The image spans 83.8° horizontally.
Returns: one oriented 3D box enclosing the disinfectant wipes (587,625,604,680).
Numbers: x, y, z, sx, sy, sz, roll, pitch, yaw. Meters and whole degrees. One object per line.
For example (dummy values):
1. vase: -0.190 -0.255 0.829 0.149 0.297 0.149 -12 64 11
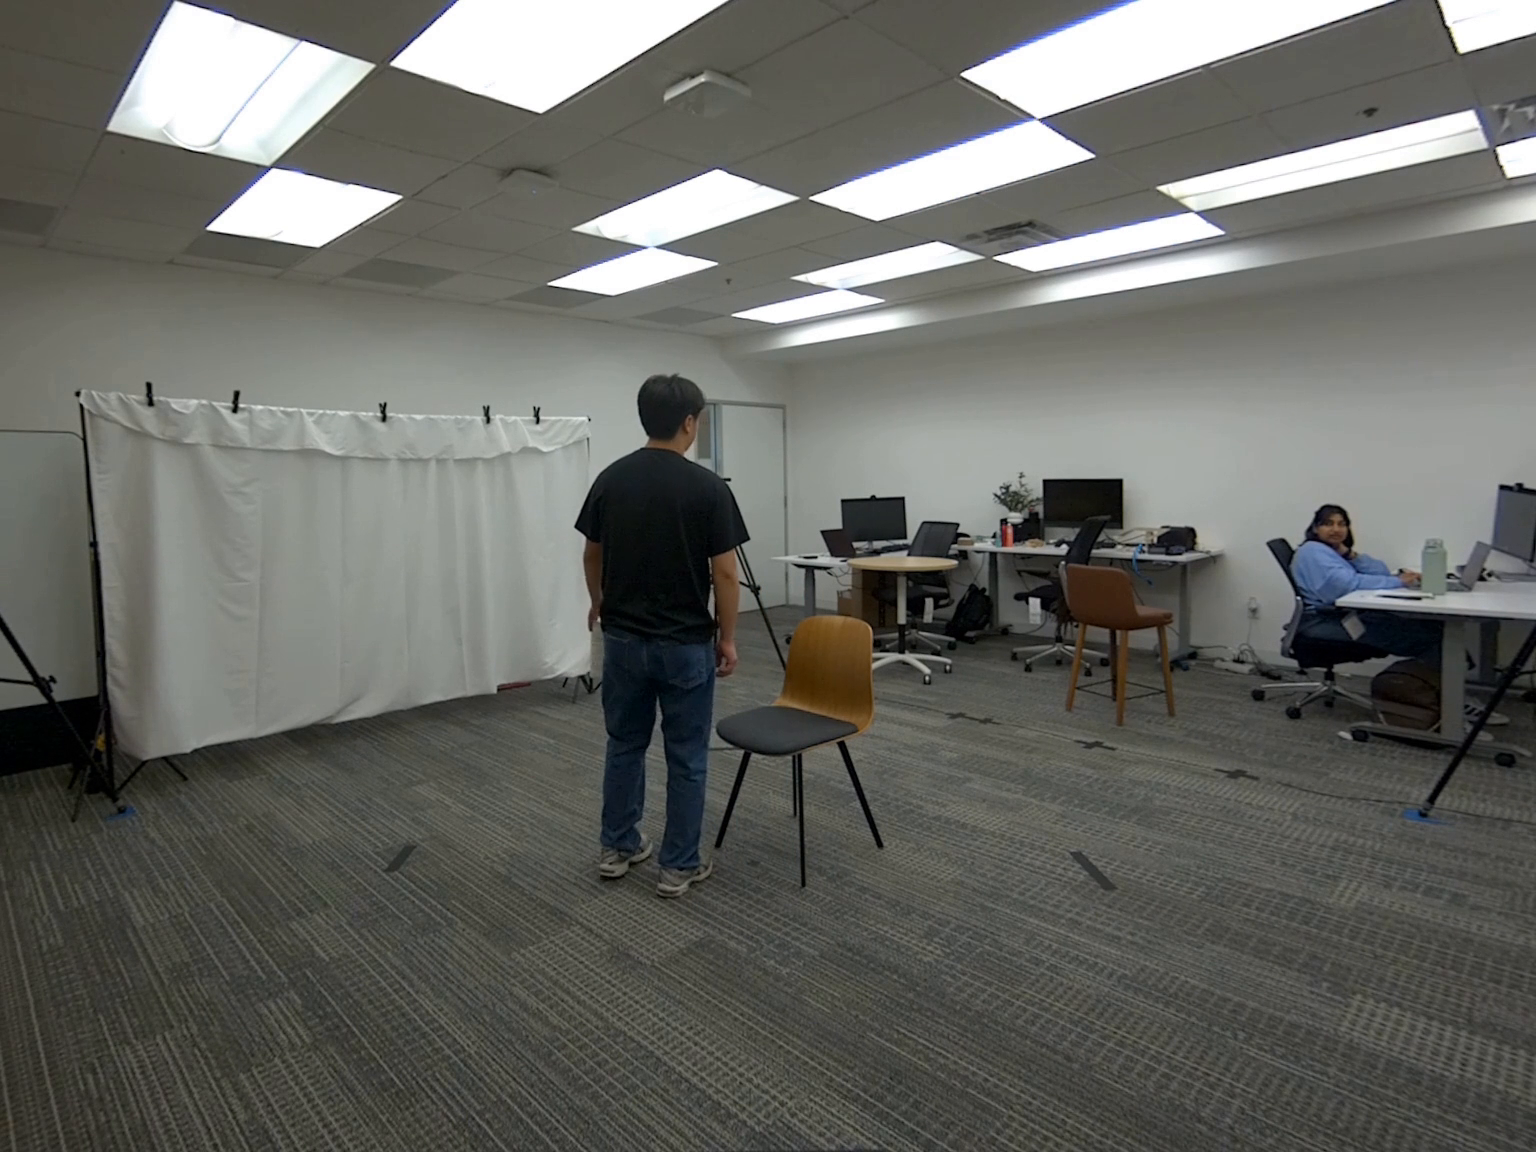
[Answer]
1. disinfectant wipes: -0.622 0.280 3.285 0.118 0.217 0.118 2 0 -2
